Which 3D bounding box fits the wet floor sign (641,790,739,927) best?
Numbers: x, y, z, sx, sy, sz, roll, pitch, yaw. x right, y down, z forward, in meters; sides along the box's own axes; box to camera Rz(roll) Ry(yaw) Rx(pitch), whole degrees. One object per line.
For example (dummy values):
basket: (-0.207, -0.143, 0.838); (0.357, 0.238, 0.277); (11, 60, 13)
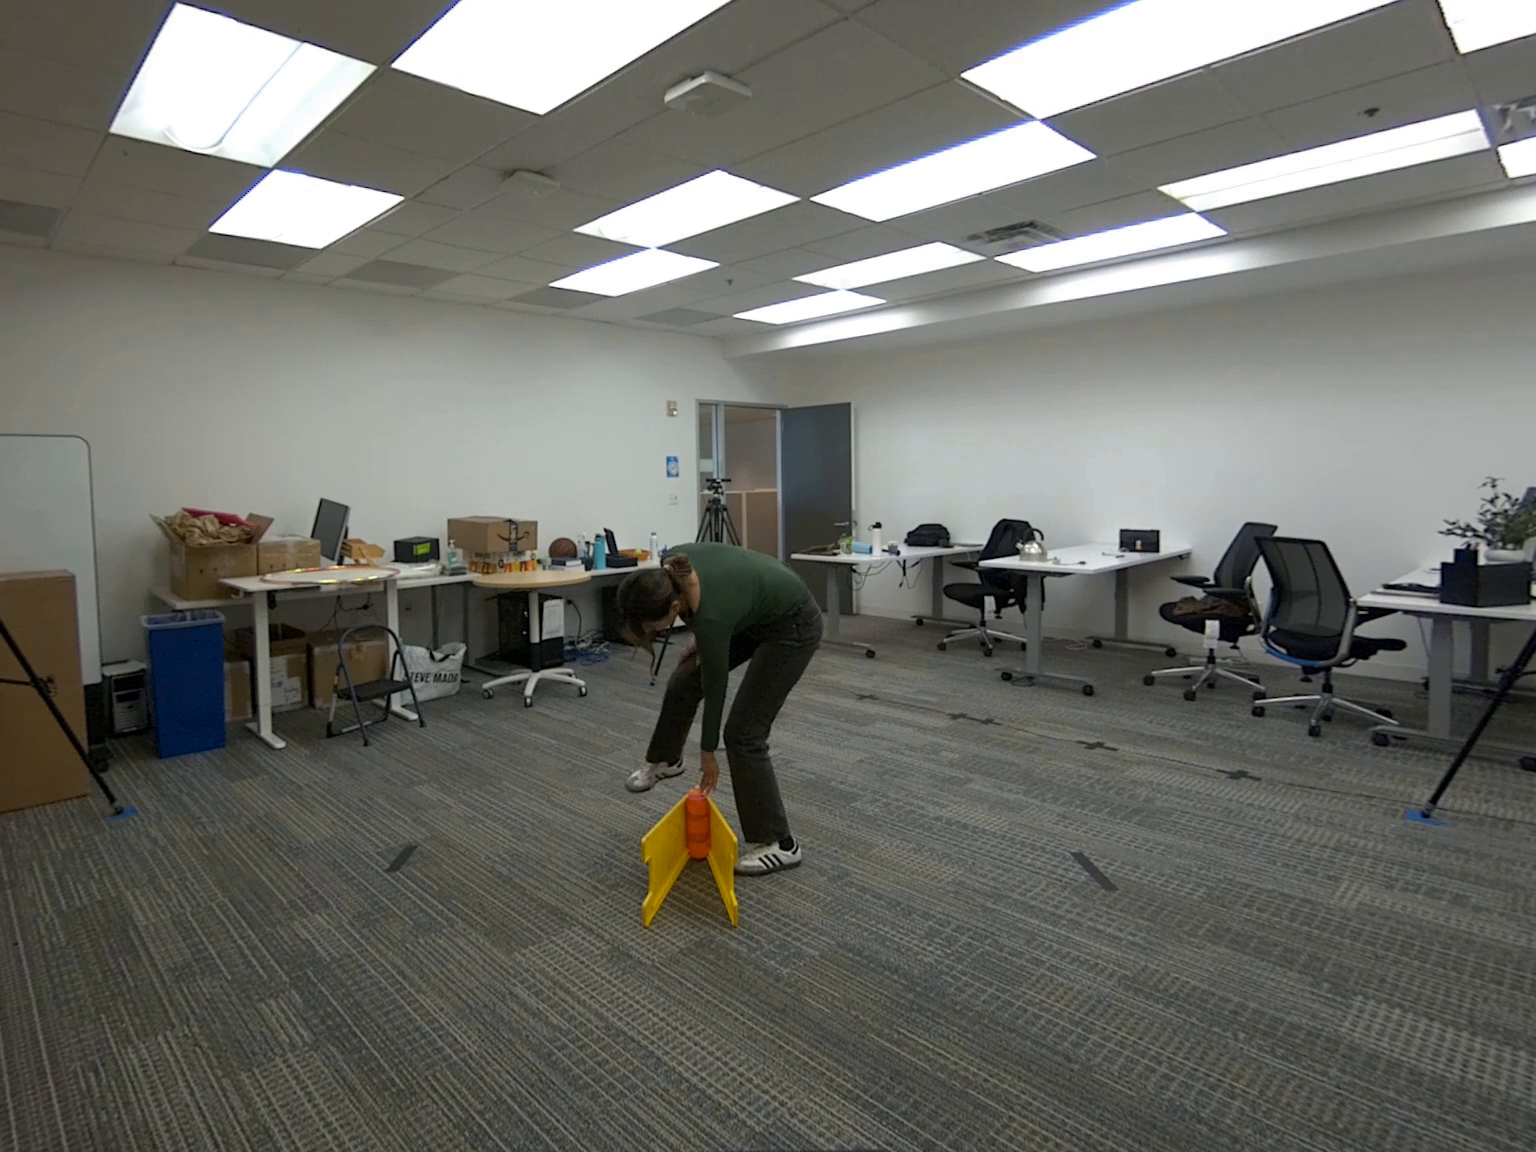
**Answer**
wet floor sign: (-0.256, 0.928, 2.984); (0.289, 0.281, 0.648); (-1, 4, -2)
